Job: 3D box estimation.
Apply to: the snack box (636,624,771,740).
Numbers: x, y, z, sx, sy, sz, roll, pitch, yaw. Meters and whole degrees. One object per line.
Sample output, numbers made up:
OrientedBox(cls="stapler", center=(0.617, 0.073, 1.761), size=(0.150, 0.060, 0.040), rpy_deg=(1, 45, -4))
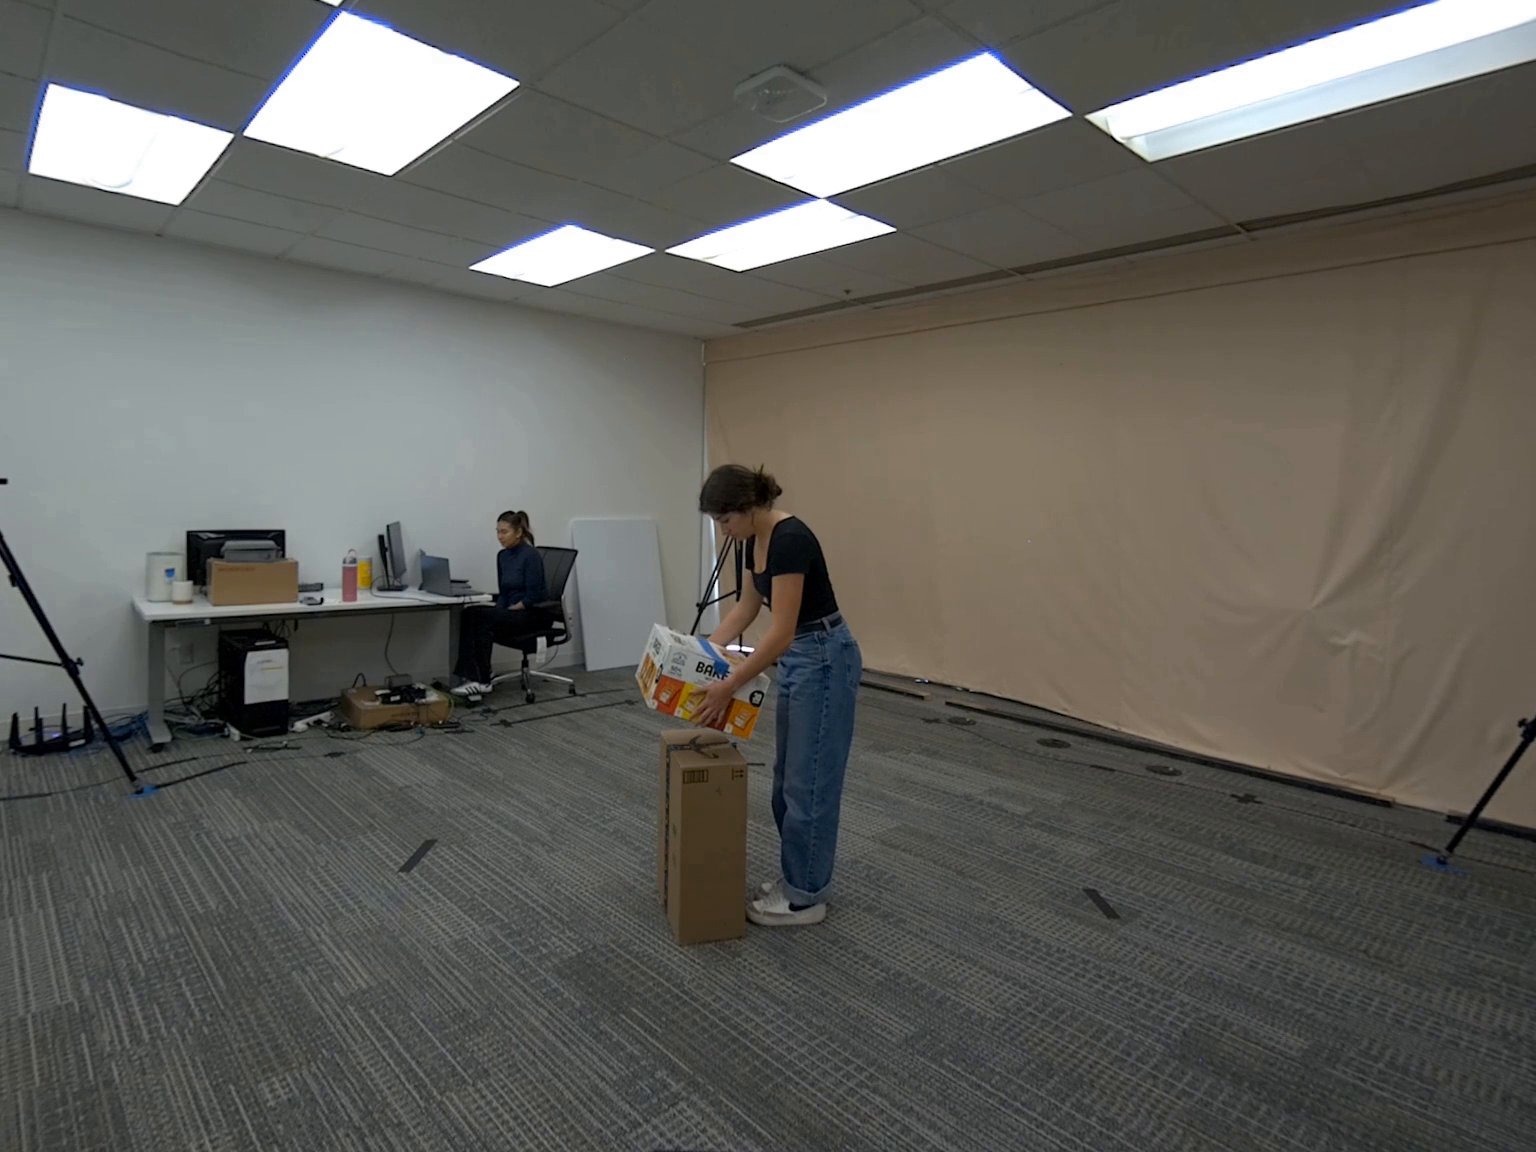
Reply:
OrientedBox(cls="snack box", center=(-0.228, 0.340, 2.782), size=(0.336, 0.205, 0.411), rpy_deg=(19, 1, -14))
